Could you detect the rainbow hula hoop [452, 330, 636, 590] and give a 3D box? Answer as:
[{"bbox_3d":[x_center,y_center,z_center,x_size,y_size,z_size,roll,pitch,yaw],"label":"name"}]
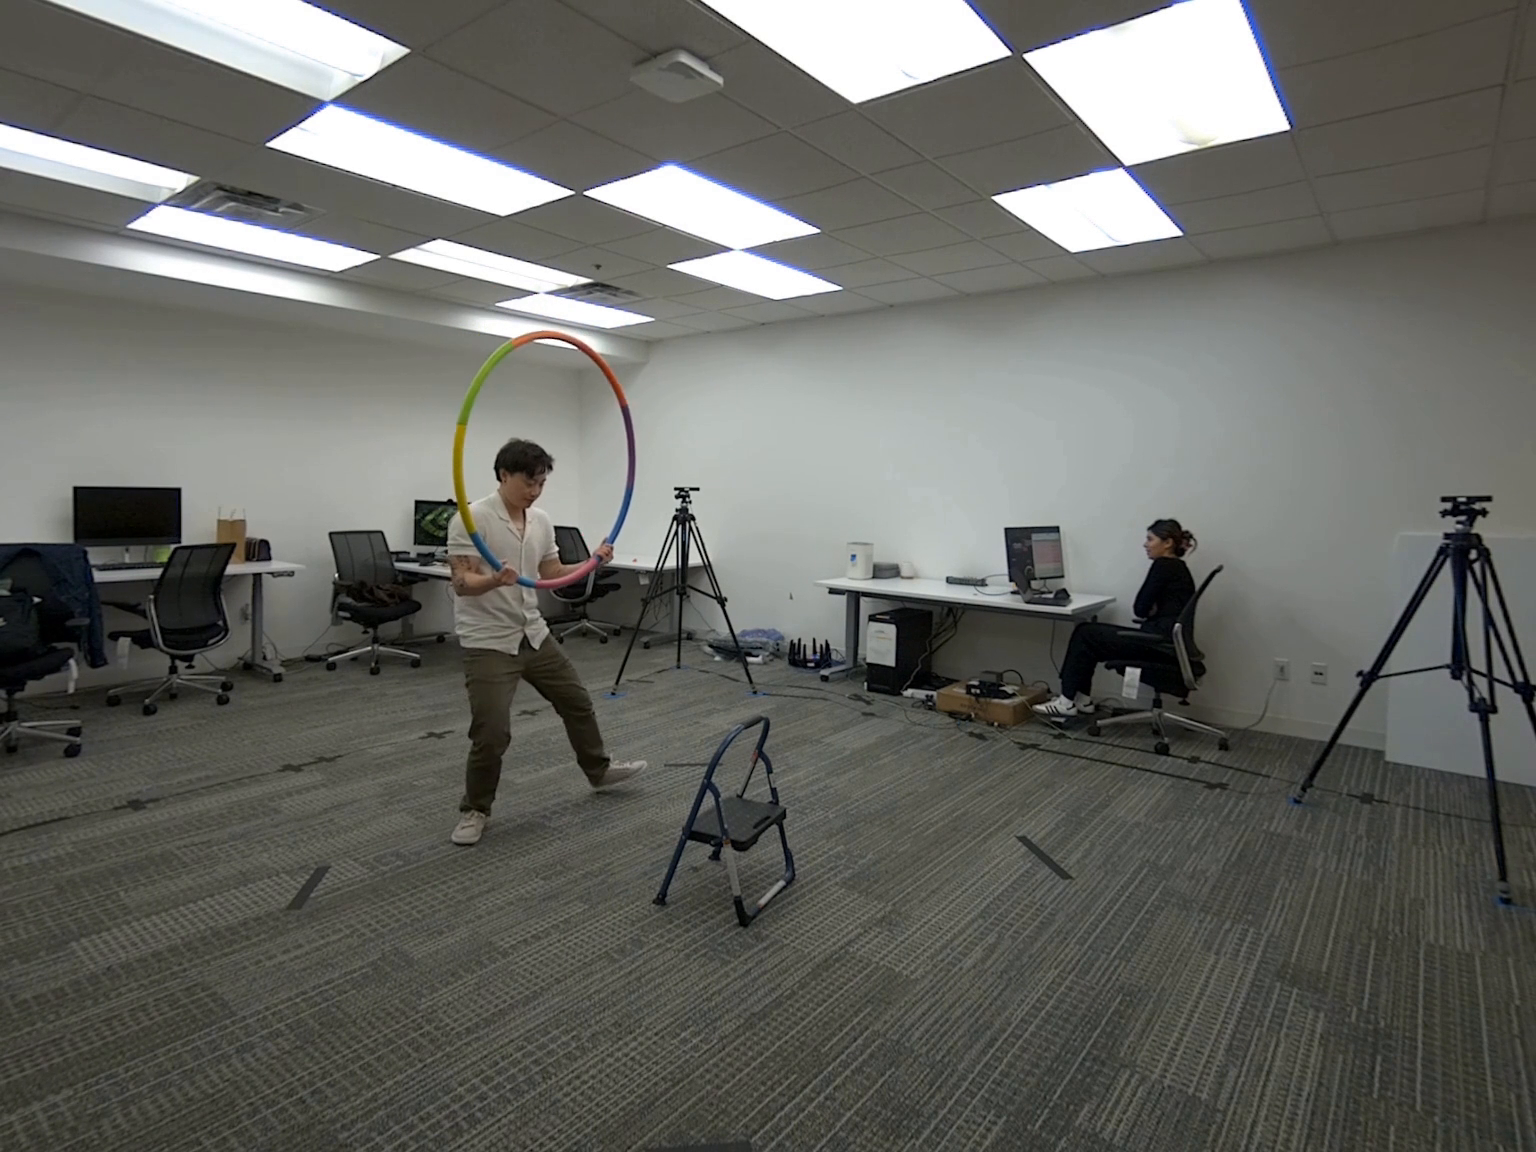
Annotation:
[{"bbox_3d":[-0.828,-0.451,3.285,0.036,0.974,0.953,6,6,29],"label":"rainbow hula hoop"}]
